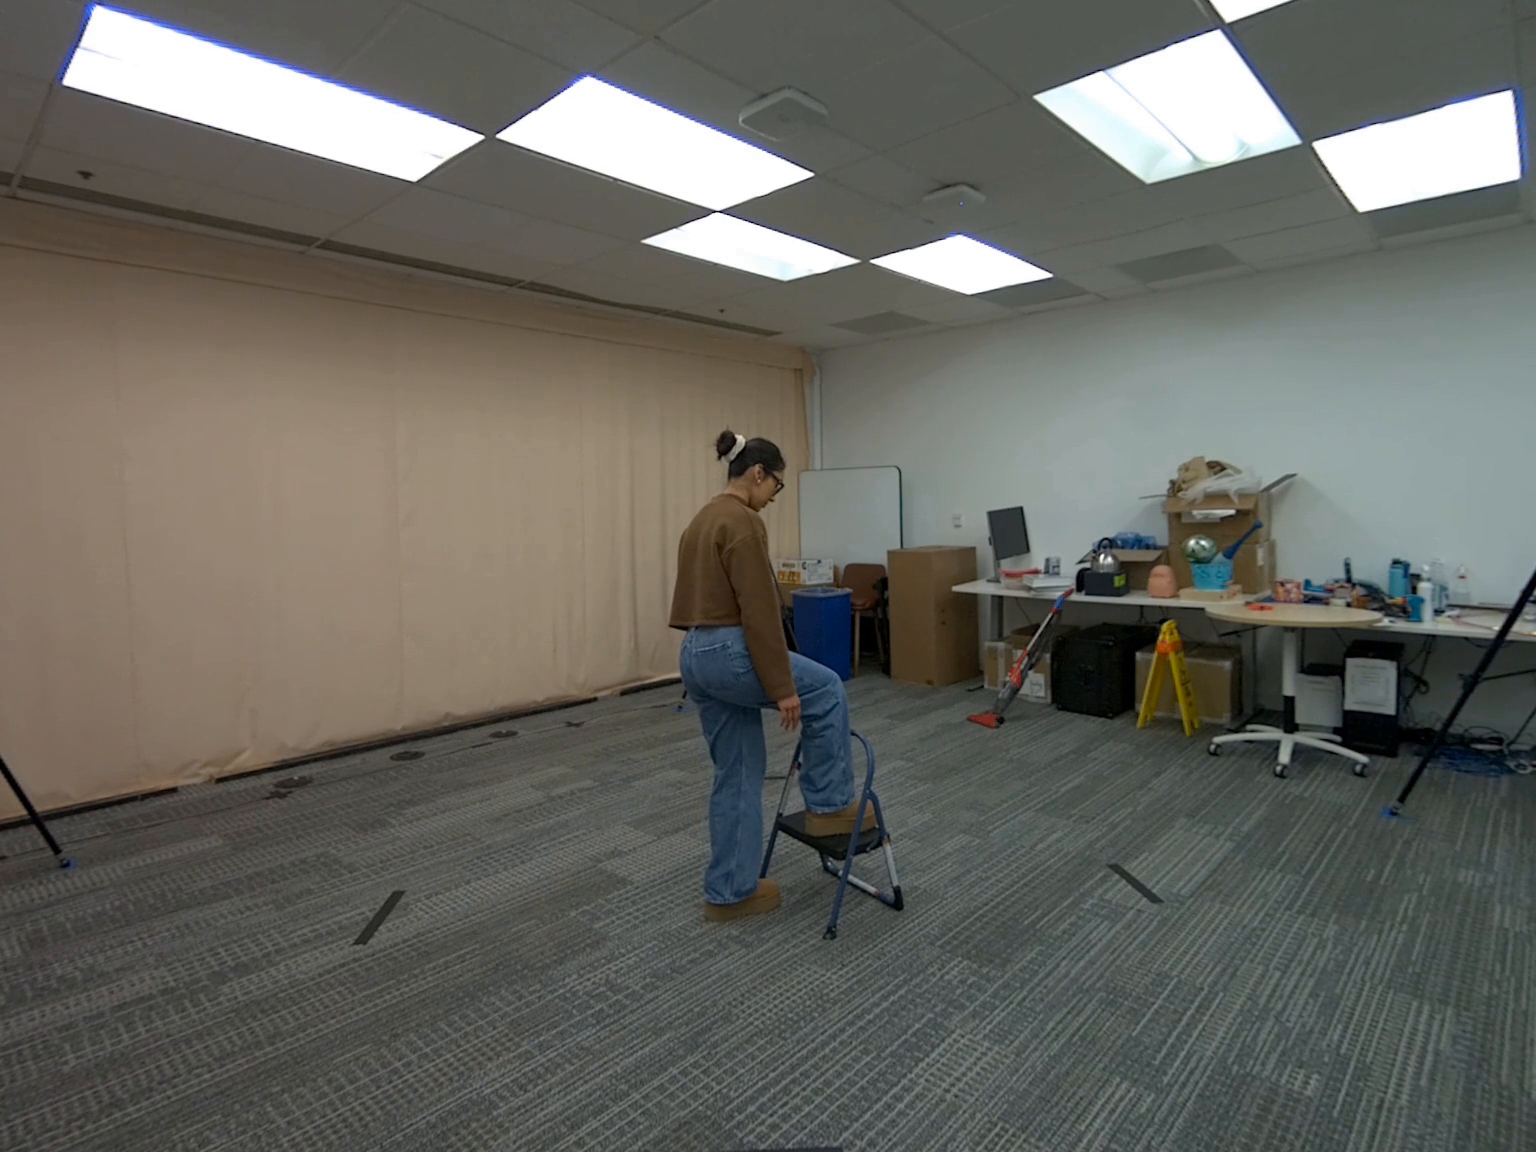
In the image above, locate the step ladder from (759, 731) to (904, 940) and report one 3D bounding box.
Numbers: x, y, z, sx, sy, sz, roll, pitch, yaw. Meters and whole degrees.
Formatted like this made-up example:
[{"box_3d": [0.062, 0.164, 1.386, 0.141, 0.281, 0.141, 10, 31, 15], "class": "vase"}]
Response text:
[{"box_3d": [0.208, 0.836, 2.937, 0.339, 0.605, 0.444, -3, 4, -35], "class": "step ladder"}]
